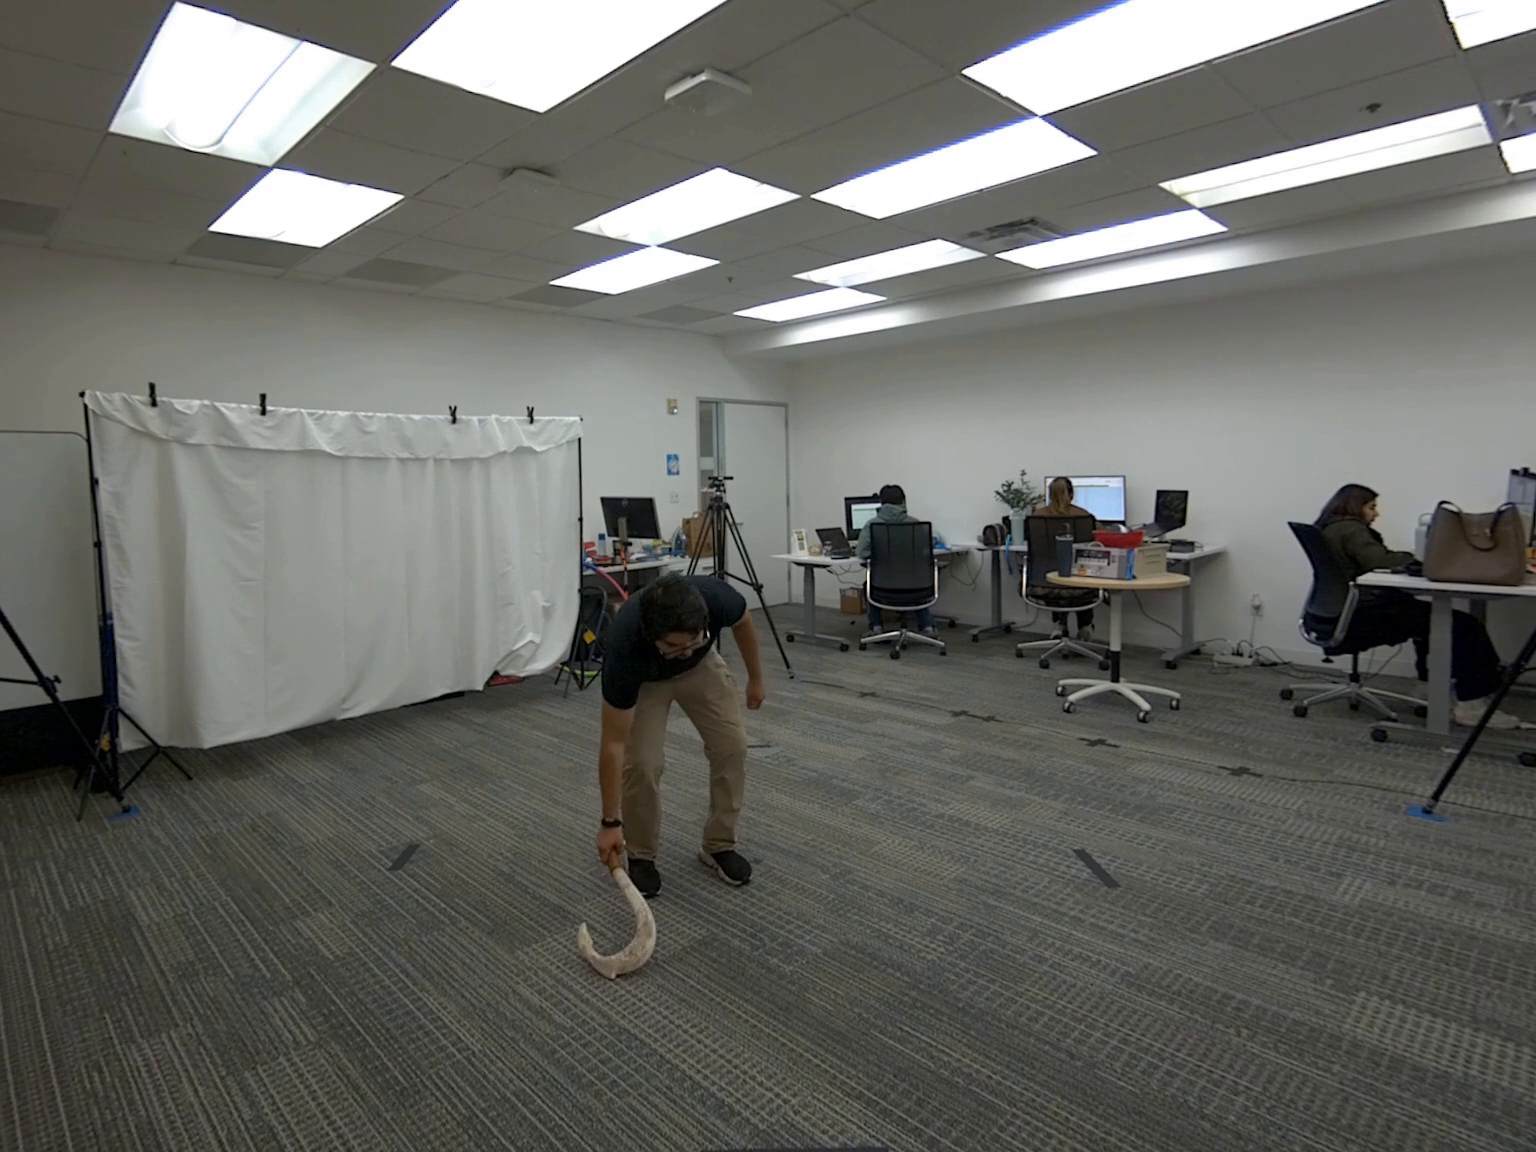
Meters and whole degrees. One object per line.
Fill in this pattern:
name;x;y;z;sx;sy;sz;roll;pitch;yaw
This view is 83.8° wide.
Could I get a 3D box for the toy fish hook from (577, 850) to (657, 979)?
toy fish hook;-0.487;0.962;2.595;0.223;0.047;0.526;-18;40;-10
